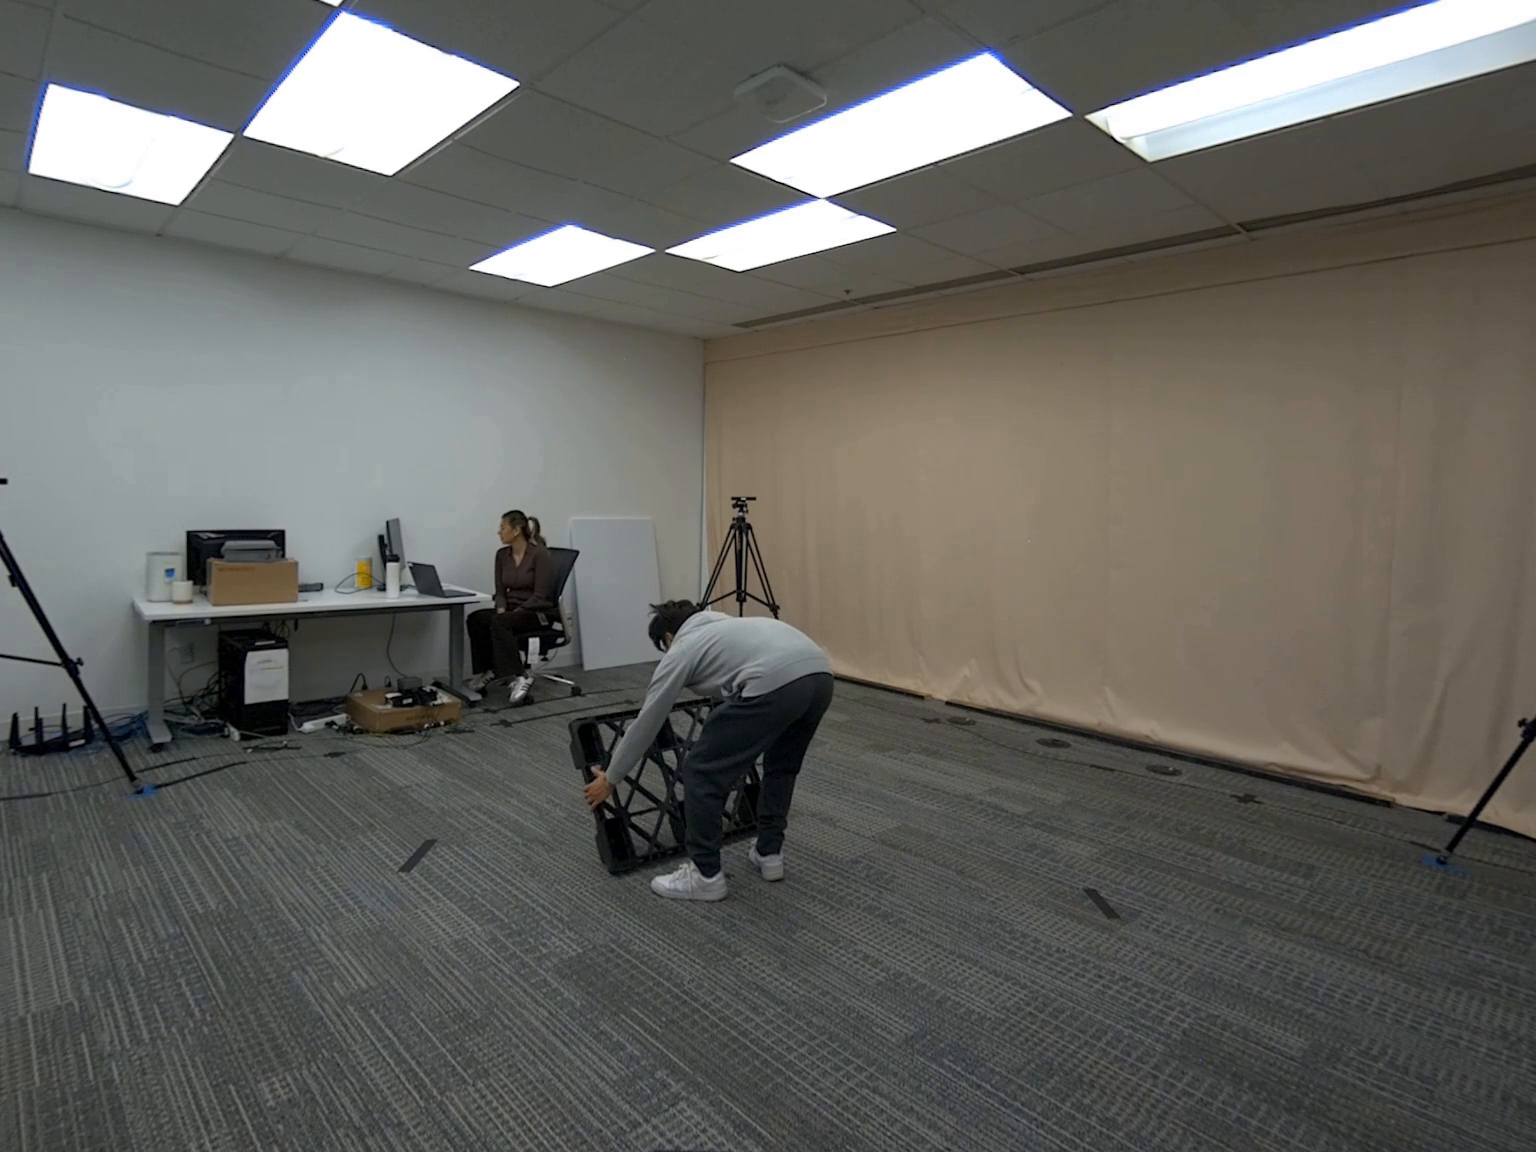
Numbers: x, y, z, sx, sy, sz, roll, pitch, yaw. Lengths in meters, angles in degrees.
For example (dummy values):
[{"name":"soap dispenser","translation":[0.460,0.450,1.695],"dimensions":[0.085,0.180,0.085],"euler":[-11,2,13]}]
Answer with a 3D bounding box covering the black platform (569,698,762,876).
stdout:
[{"name":"black platform","translation":[-0.414,0.829,3.464],"dimensions":[0.787,0.618,0.143],"euler":[-2,-30,-40]}]
